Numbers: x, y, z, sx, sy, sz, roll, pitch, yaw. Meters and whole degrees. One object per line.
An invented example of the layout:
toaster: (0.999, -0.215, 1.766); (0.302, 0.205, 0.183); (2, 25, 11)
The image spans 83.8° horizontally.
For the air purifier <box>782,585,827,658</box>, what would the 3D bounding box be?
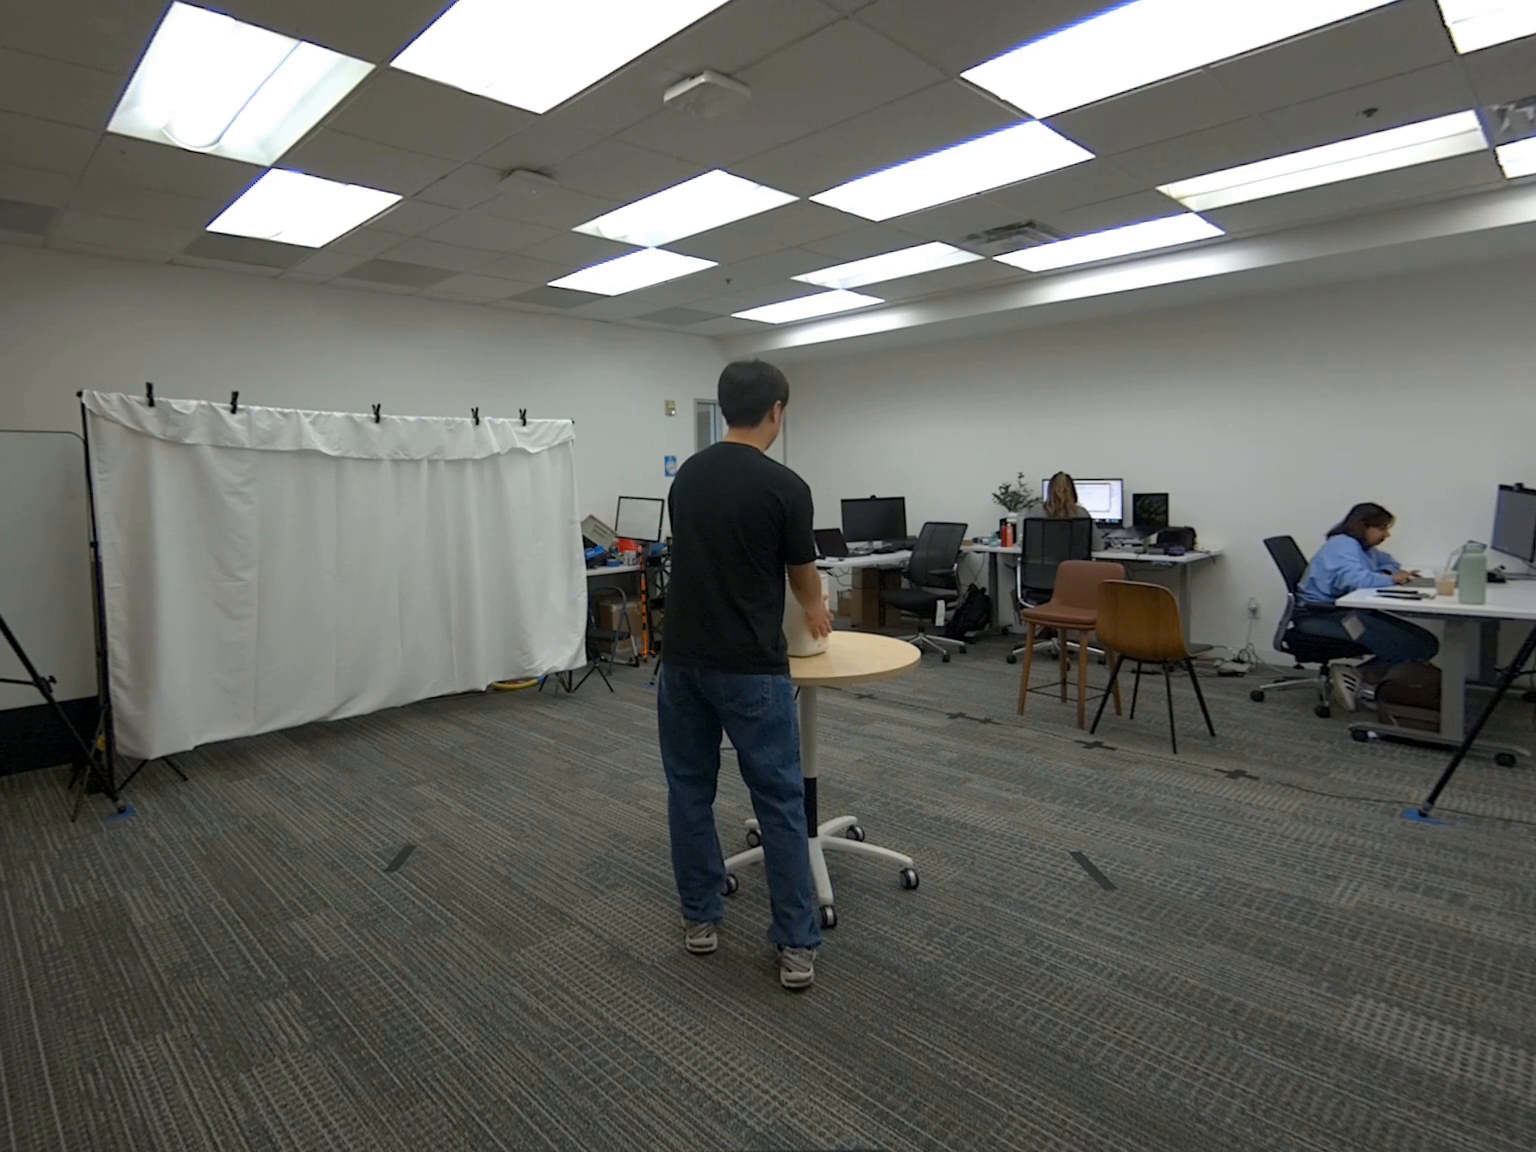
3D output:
air purifier: (0.114, 0.134, 2.934); (0.177, 0.264, 0.167); (4, 7, 45)
